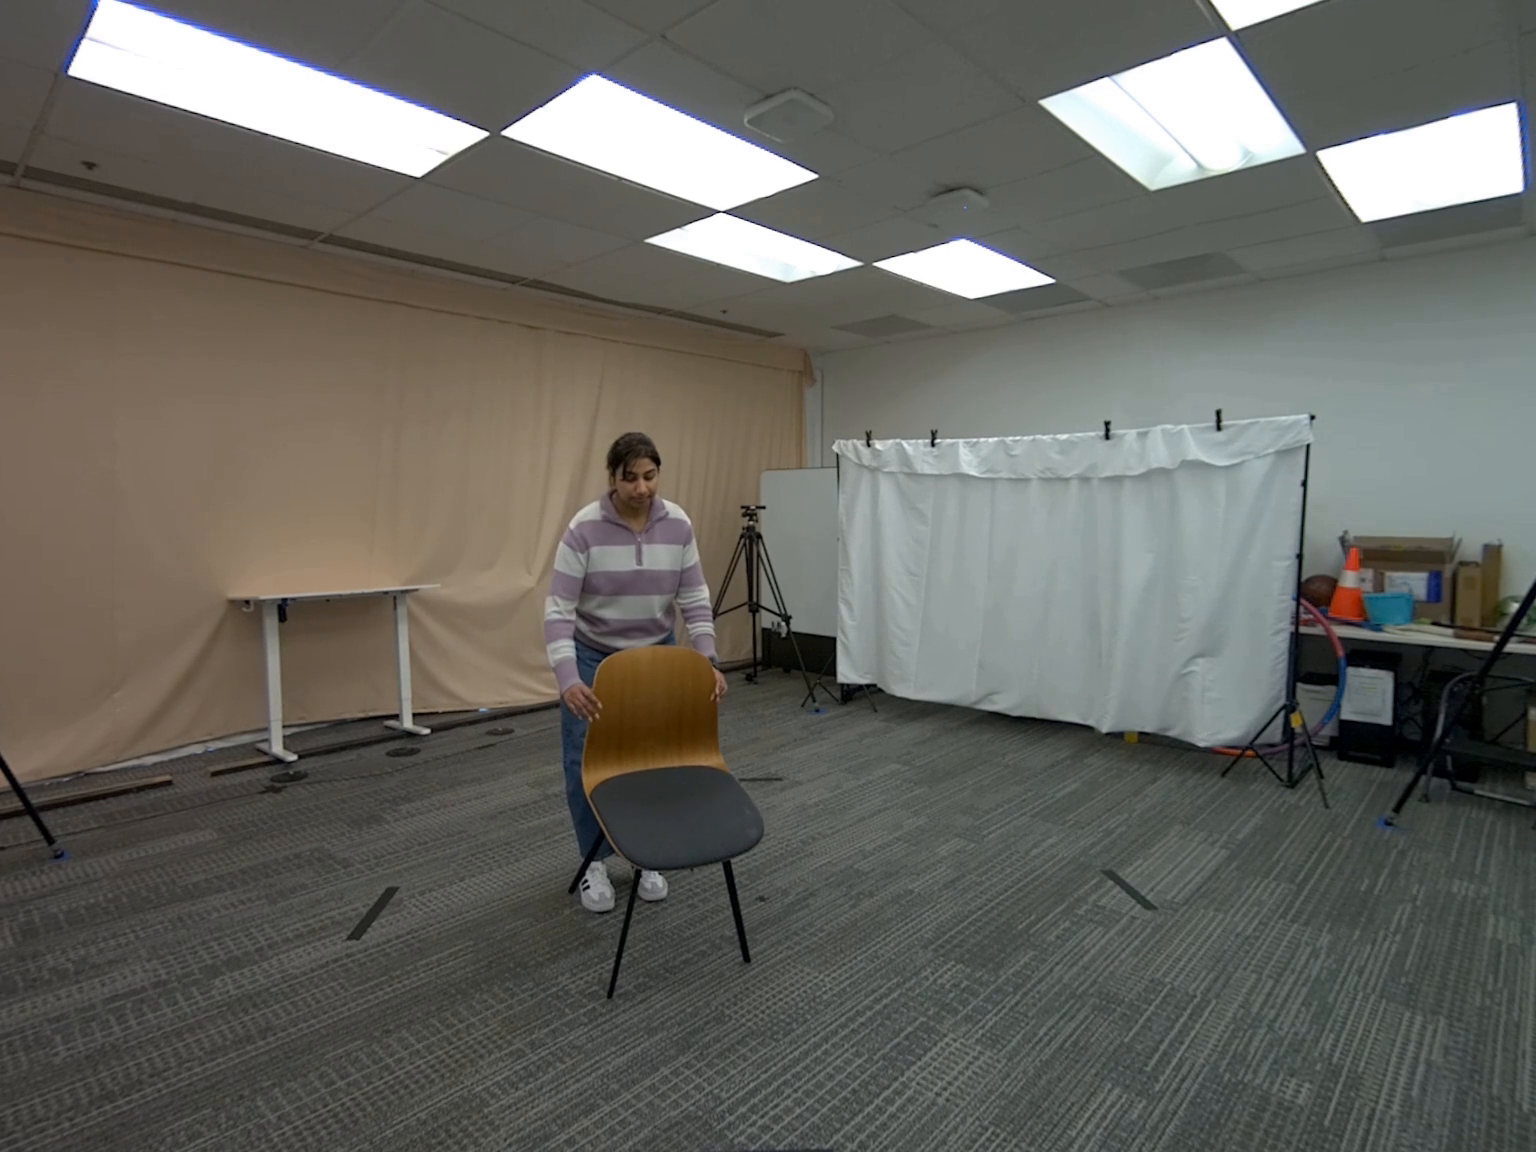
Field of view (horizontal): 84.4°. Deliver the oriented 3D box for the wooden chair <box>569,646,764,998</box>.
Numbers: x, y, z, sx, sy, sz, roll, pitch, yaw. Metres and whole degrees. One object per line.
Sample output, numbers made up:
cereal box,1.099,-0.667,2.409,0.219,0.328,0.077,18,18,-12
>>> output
wooden chair,-0.292,0.717,2.524,0.466,0.871,0.540,-2,15,-26
